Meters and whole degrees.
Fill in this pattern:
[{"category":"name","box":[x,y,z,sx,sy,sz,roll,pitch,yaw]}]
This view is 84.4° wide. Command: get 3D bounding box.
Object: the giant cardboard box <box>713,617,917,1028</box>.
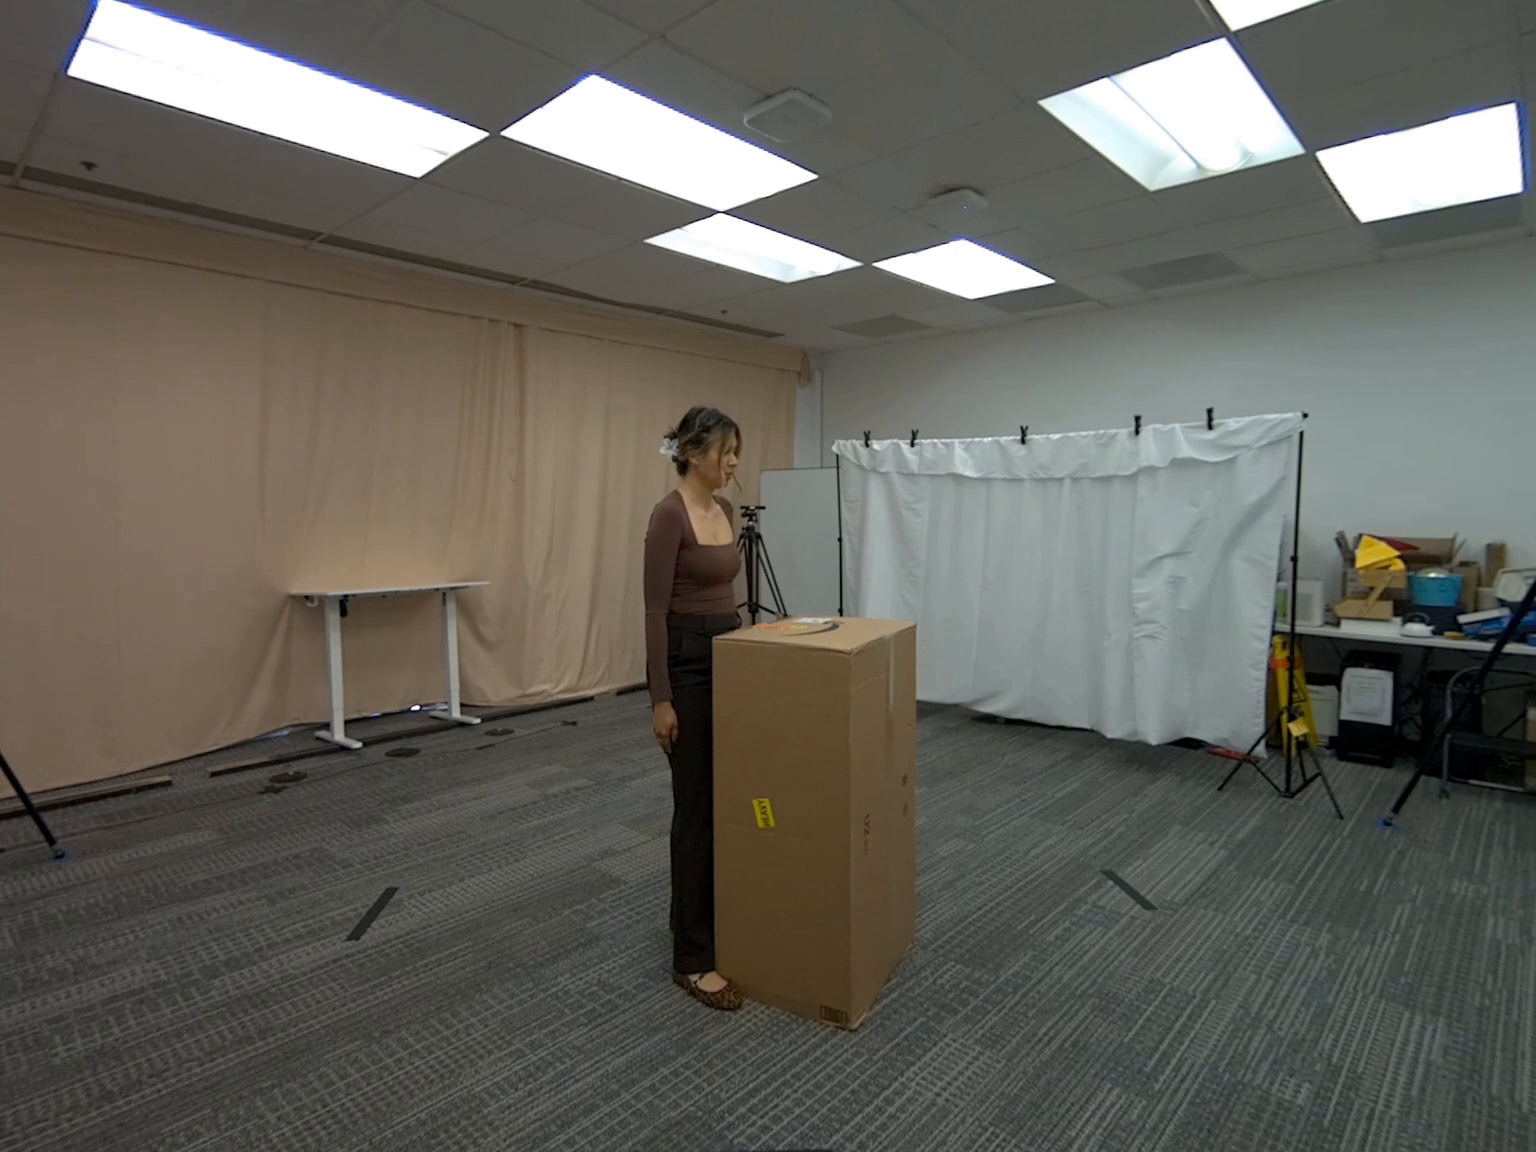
[{"category":"giant cardboard box","box":[0.163,0.671,2.552,0.460,1.025,0.569,1,4,29]}]
